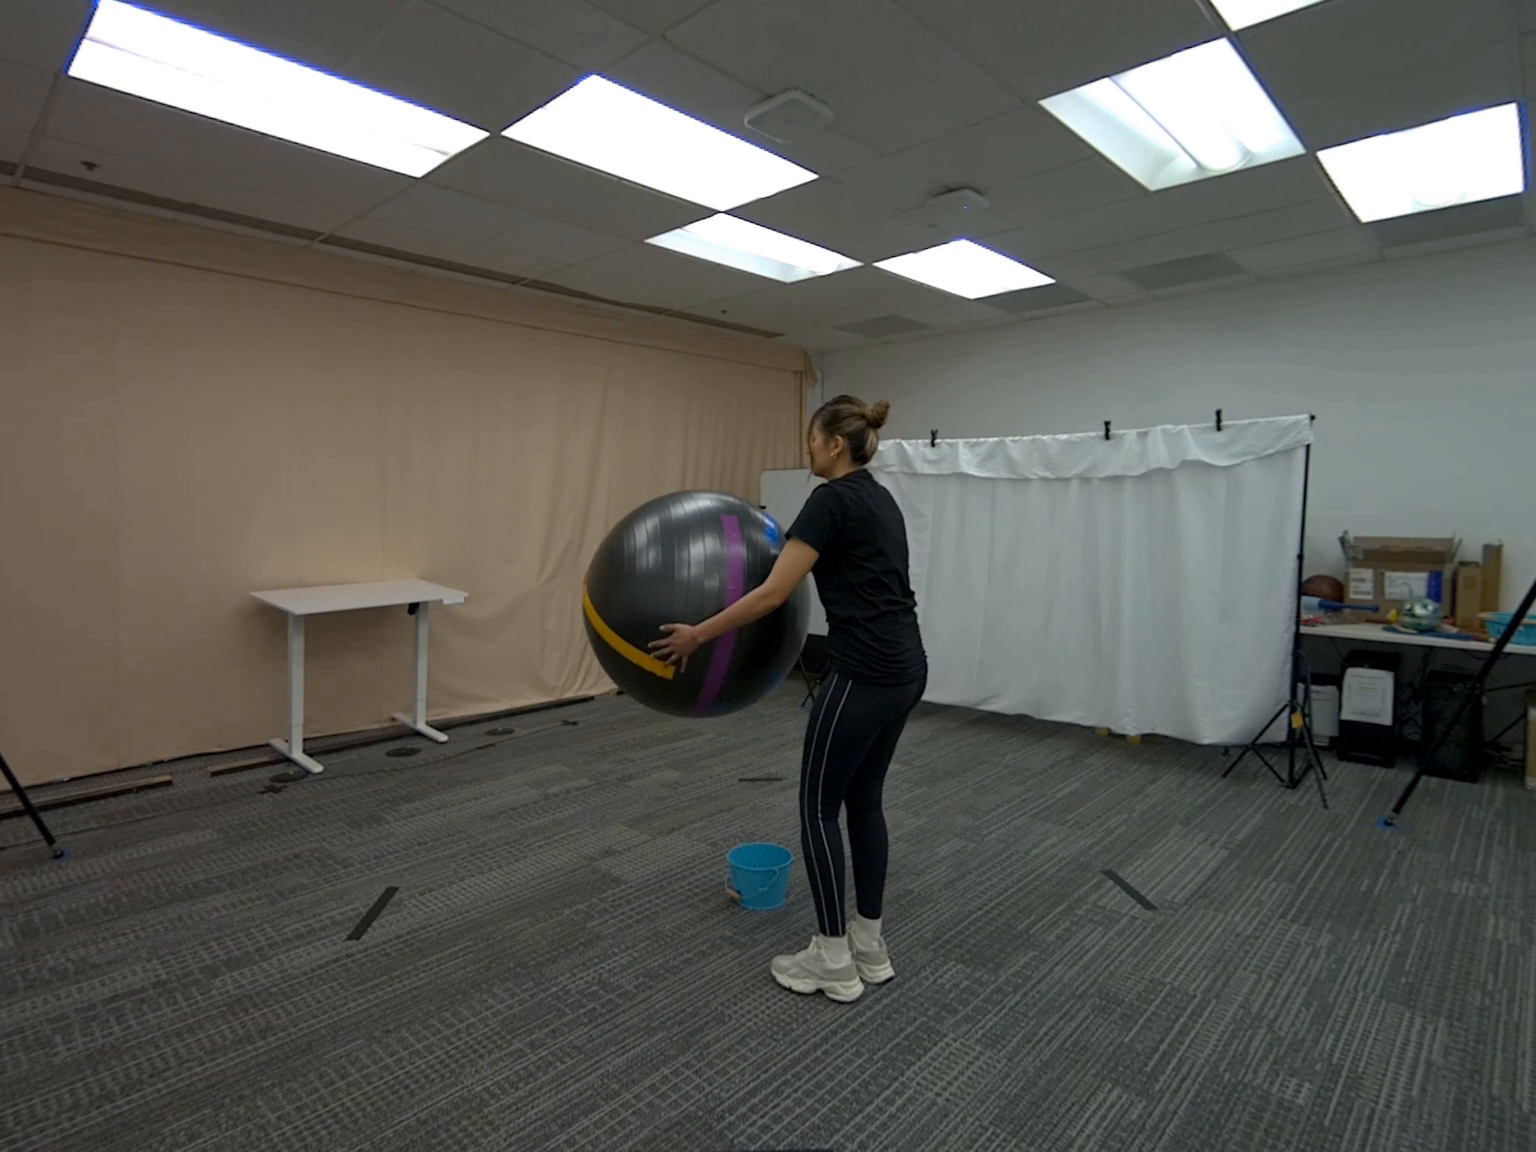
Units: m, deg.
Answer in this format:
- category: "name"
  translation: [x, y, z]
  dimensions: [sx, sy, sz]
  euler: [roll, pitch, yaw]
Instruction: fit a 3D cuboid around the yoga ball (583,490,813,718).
- category: "yoga ball"
  translation: [-0.235, 0.101, 2.816]
  dimensions: [0.757, 0.756, 0.761]
  euler: [0, 4, -2]
